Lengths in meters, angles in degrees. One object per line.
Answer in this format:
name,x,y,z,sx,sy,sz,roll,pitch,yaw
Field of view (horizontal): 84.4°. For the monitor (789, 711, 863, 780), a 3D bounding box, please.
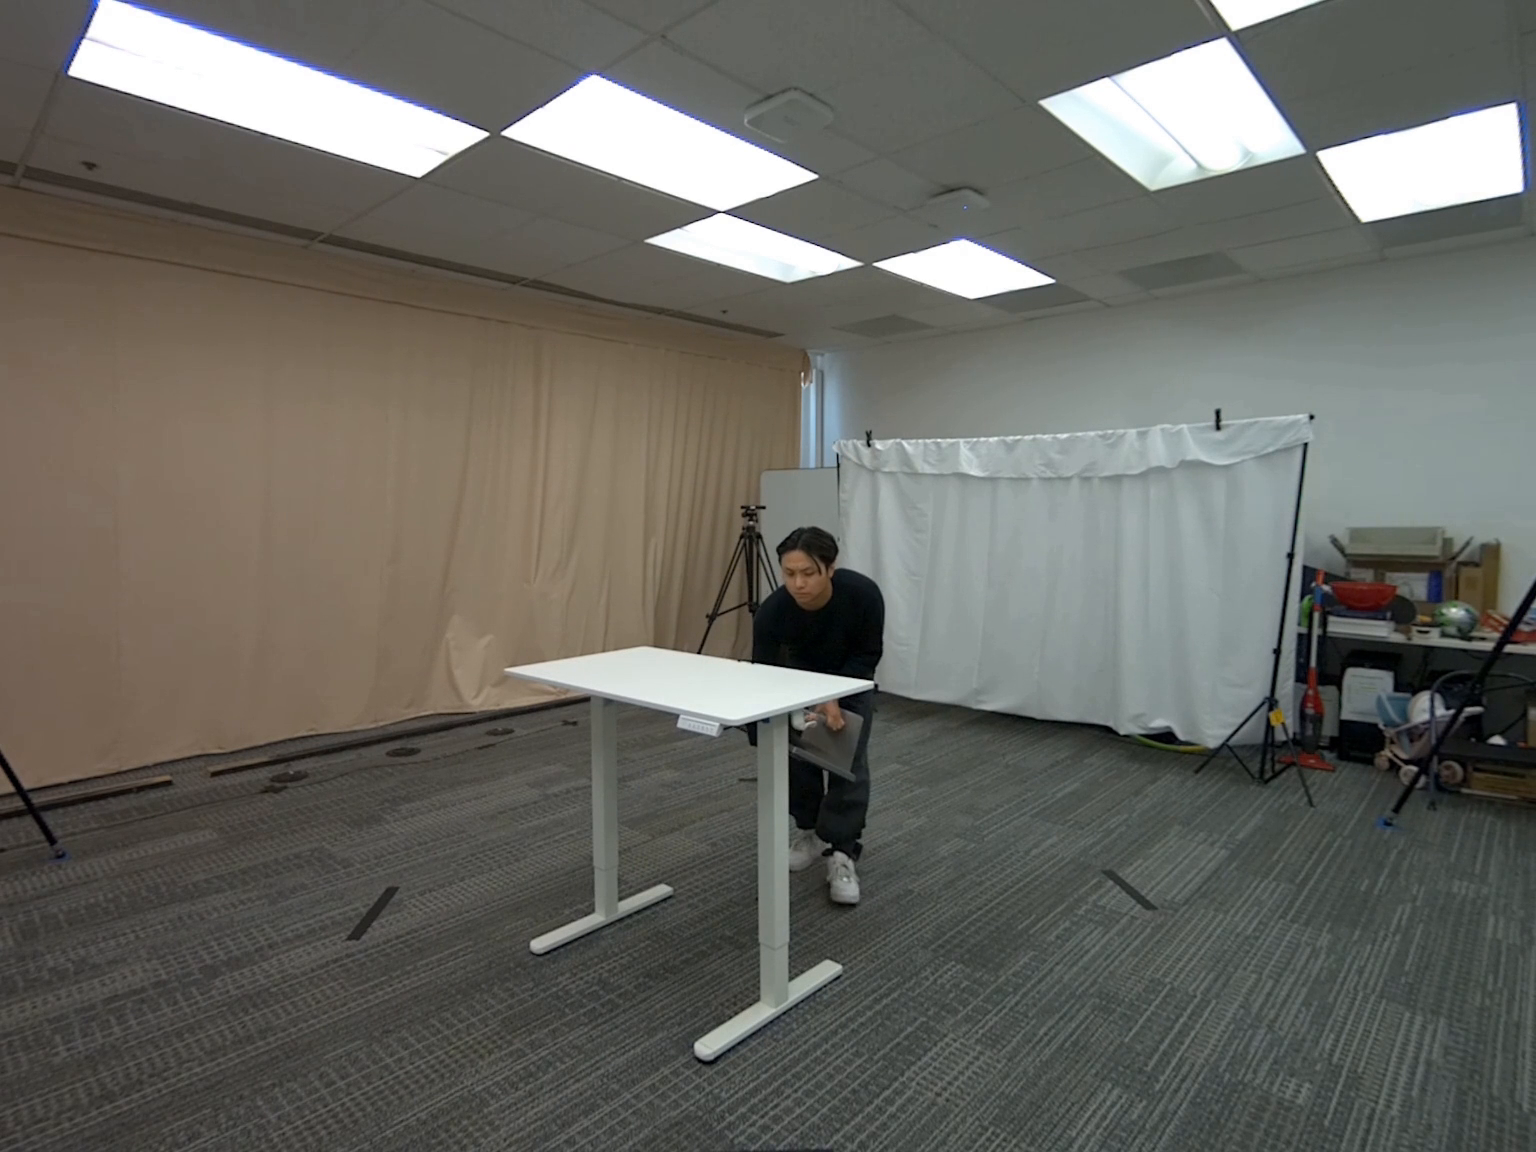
monitor,0.046,0.522,2.881,0.549,0.174,0.498,14,2,44
